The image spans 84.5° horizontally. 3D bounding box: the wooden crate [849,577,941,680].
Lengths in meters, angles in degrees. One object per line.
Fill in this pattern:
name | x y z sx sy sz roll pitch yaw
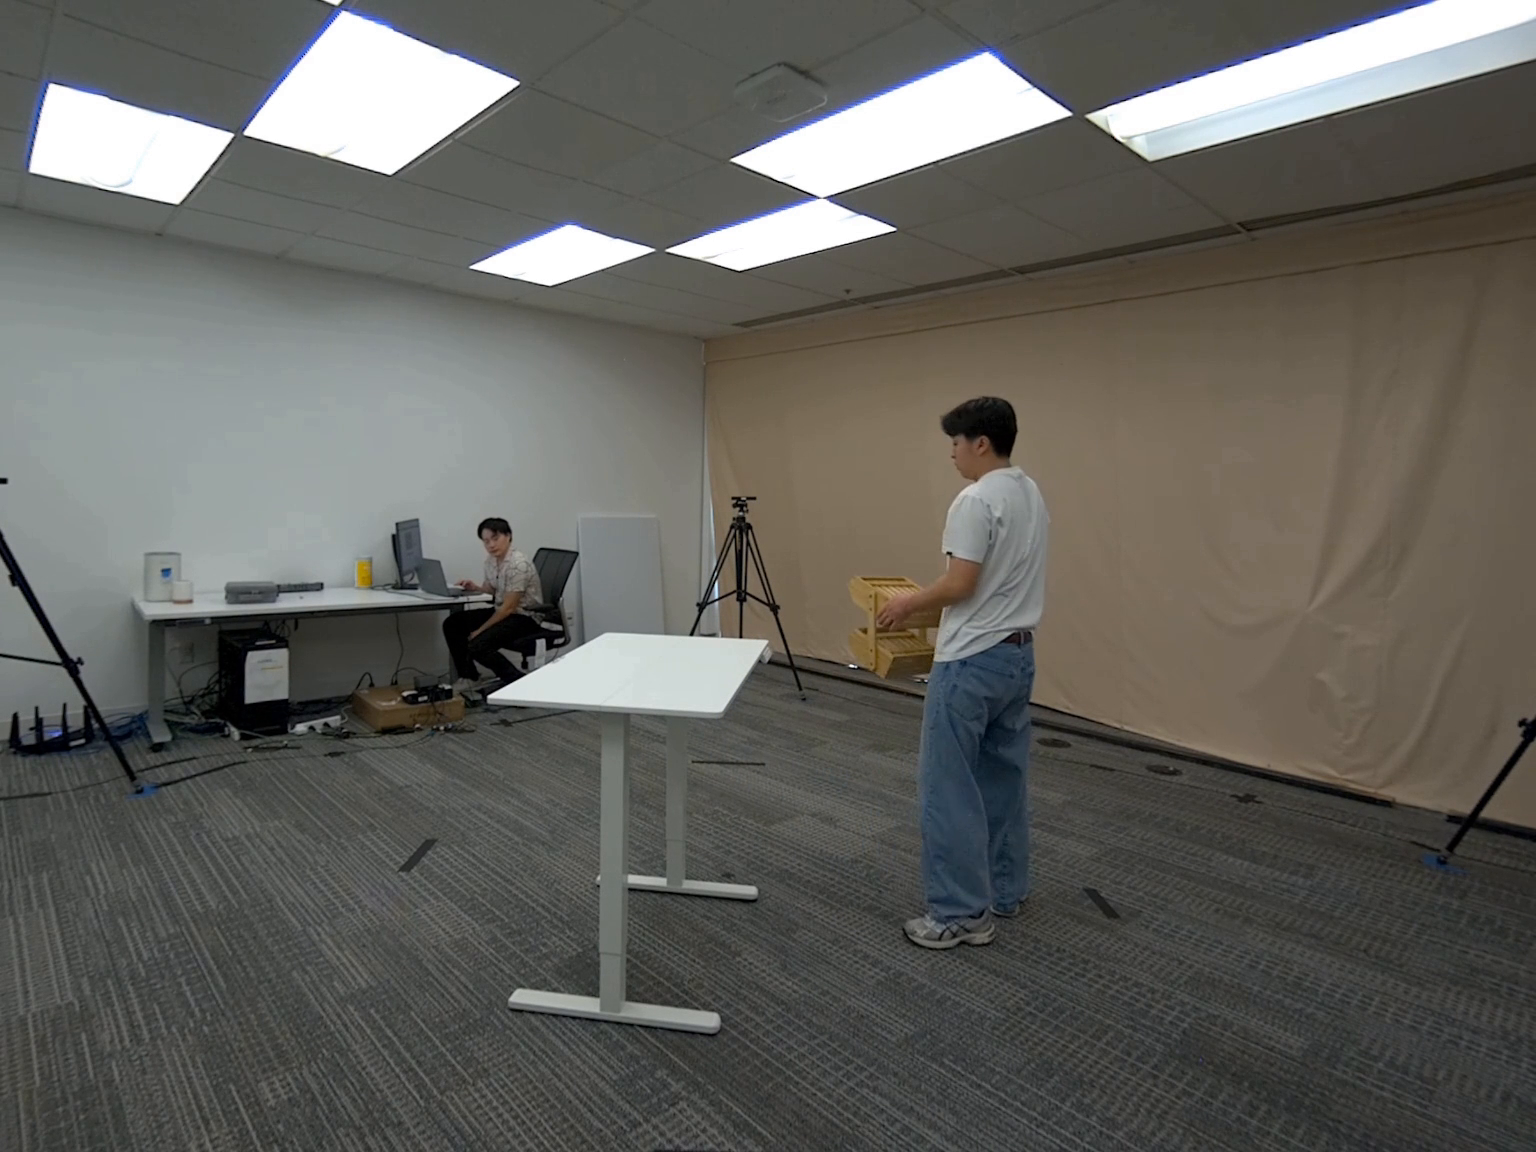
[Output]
wooden crate | 0.447 0.173 3.096 0.316 0.271 0.312 3 23 -44
